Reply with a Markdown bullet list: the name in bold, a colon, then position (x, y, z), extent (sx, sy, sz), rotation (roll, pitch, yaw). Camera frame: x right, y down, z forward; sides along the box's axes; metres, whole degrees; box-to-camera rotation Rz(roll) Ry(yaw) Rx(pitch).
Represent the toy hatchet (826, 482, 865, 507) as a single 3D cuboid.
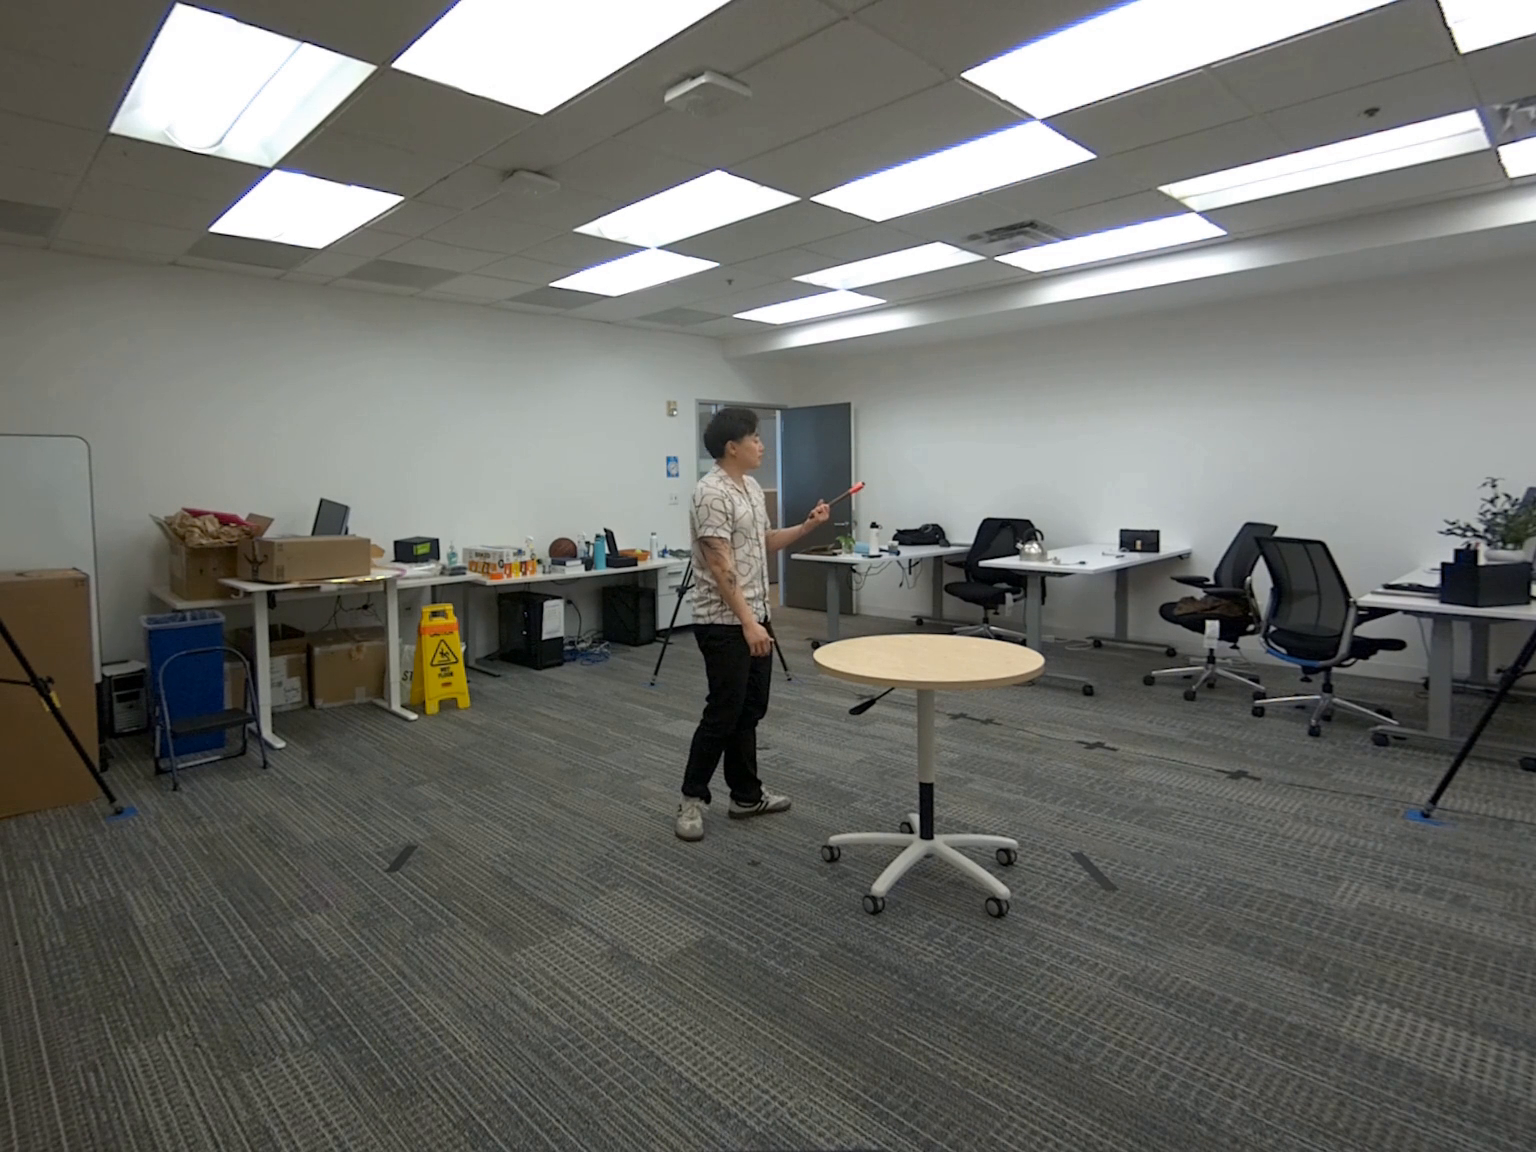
- **toy hatchet**: position (0.289, -0.313, 3.517), extent (0.268, 0.029, 0.132), rotation (-33, 6, -17)
